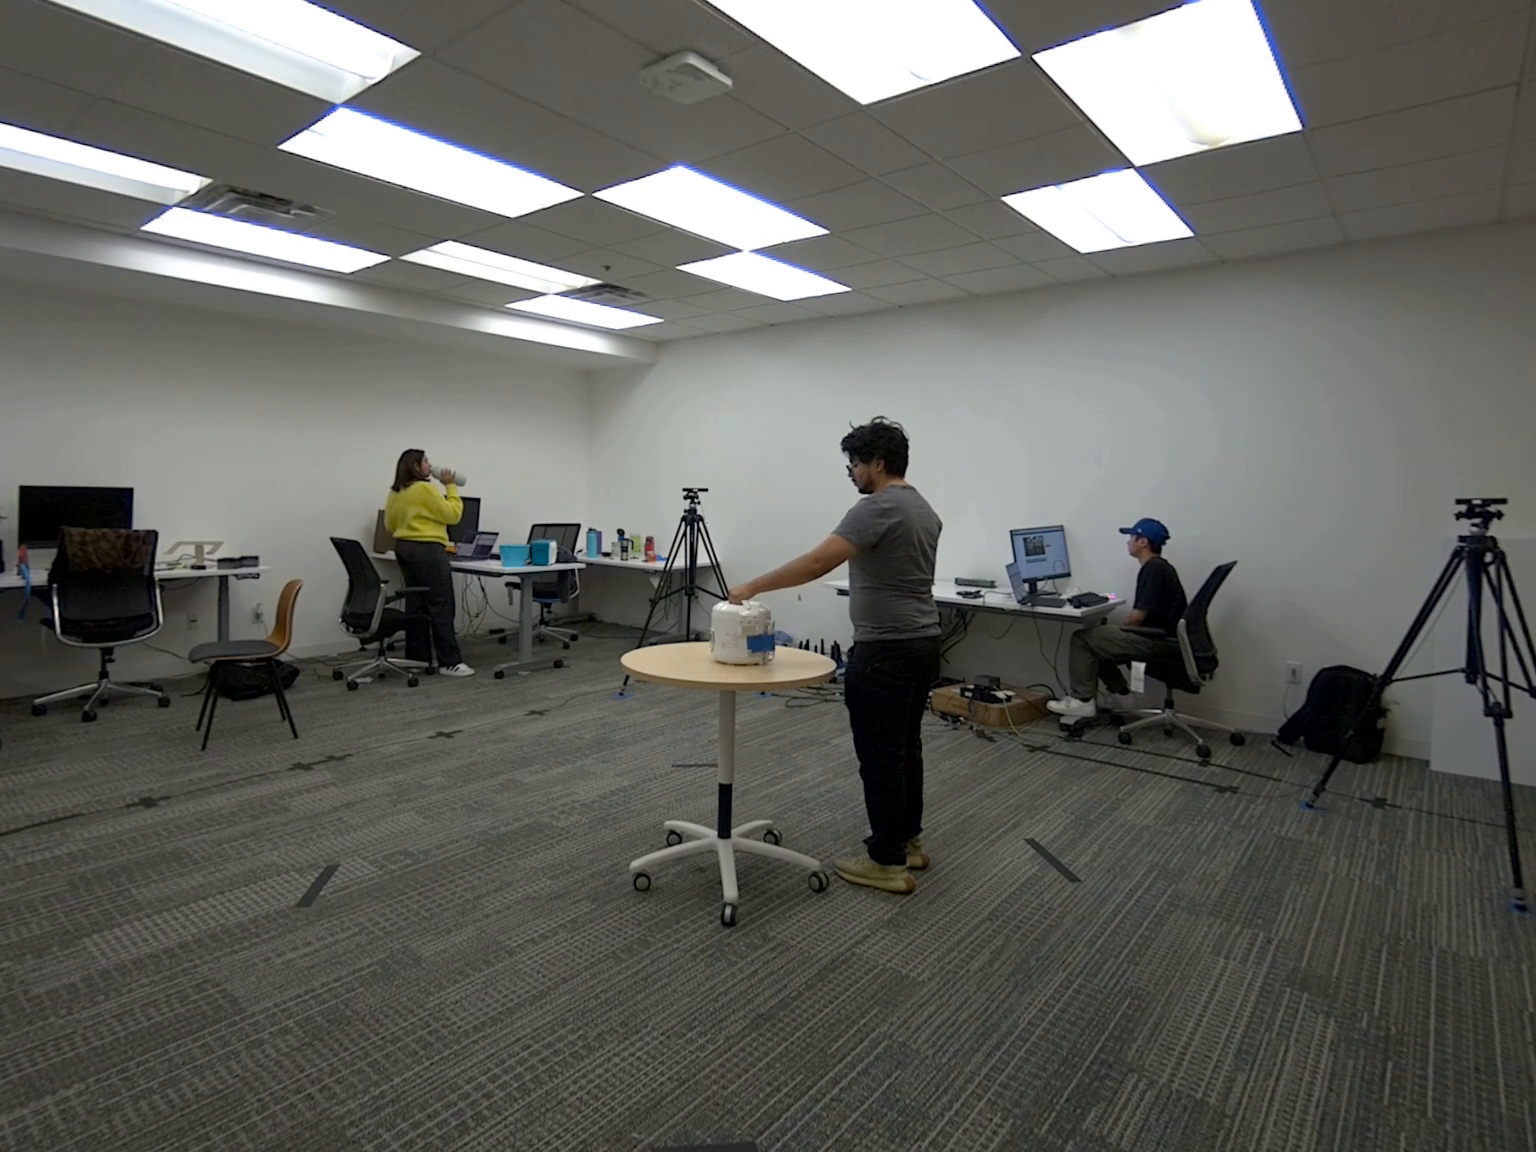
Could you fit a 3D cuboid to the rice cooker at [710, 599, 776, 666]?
[{"bbox_3d":[-0.103,0.184,3.017,0.214,0.232,0.225,0,3,-16],"label":"rice cooker"}]
